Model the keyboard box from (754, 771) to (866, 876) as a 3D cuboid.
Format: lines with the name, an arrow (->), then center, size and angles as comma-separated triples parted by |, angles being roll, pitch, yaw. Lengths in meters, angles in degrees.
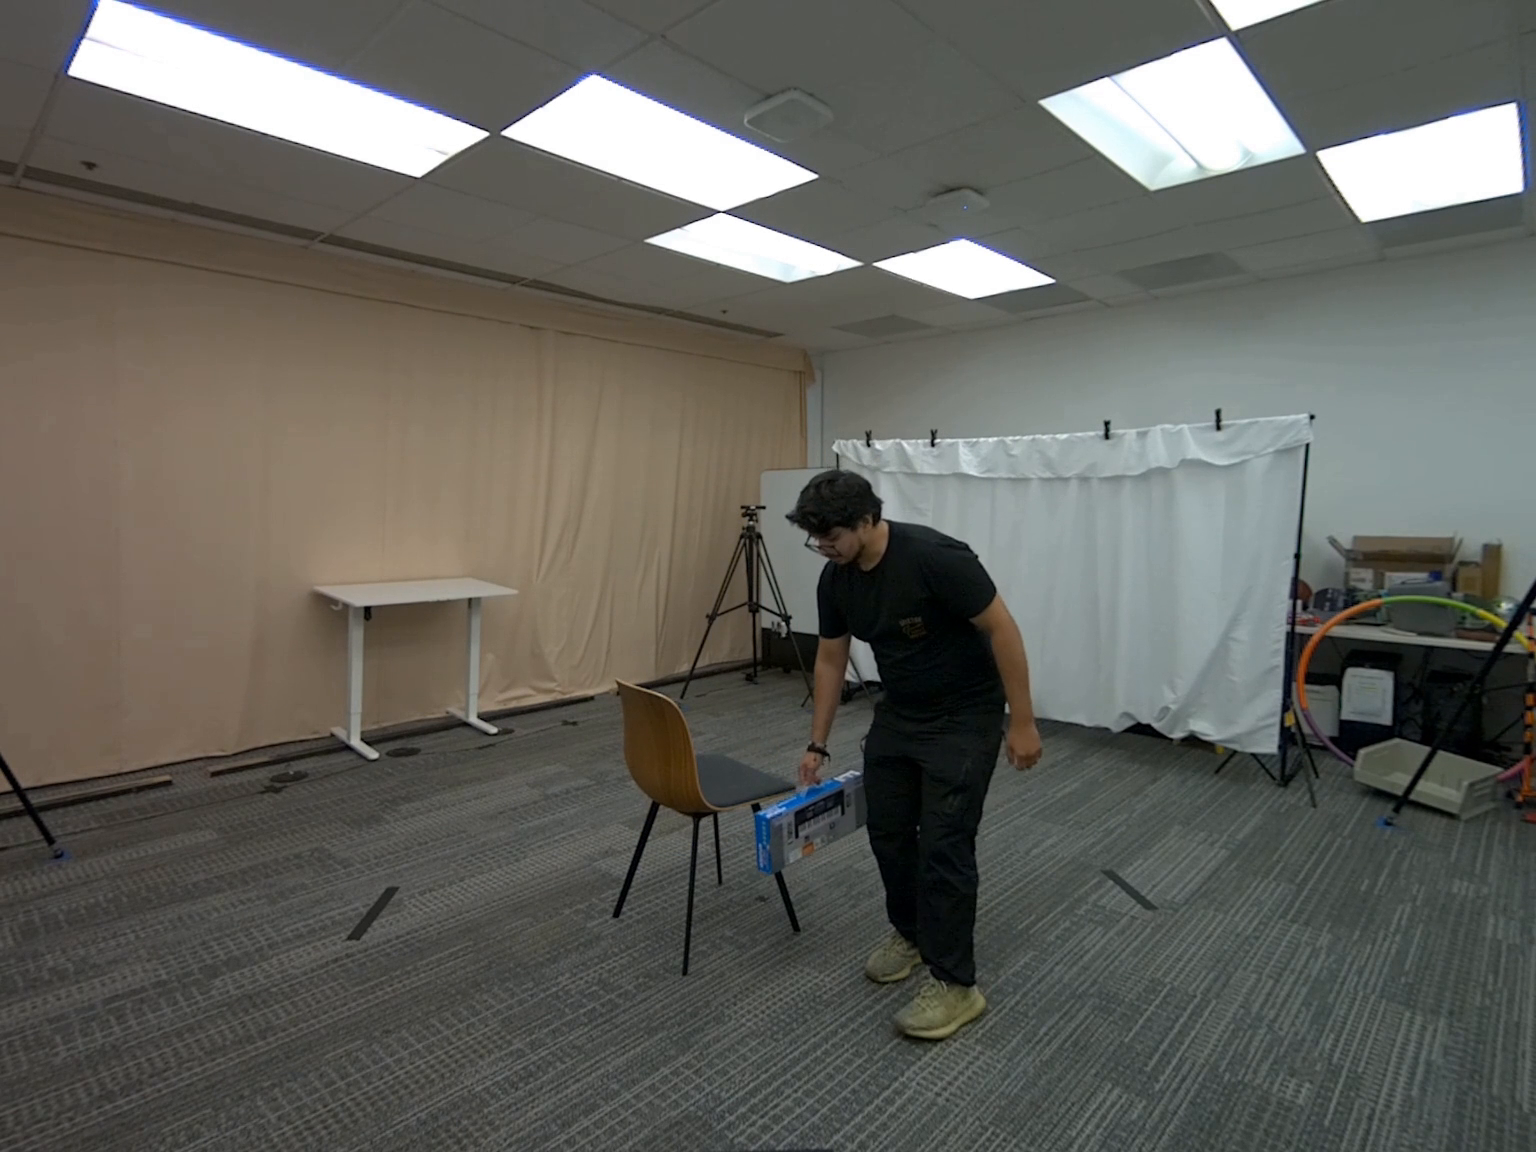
keyboard box -> 0.147, 0.745, 2.561 | 0.425, 0.175, 0.061 | -11, 10, -40
